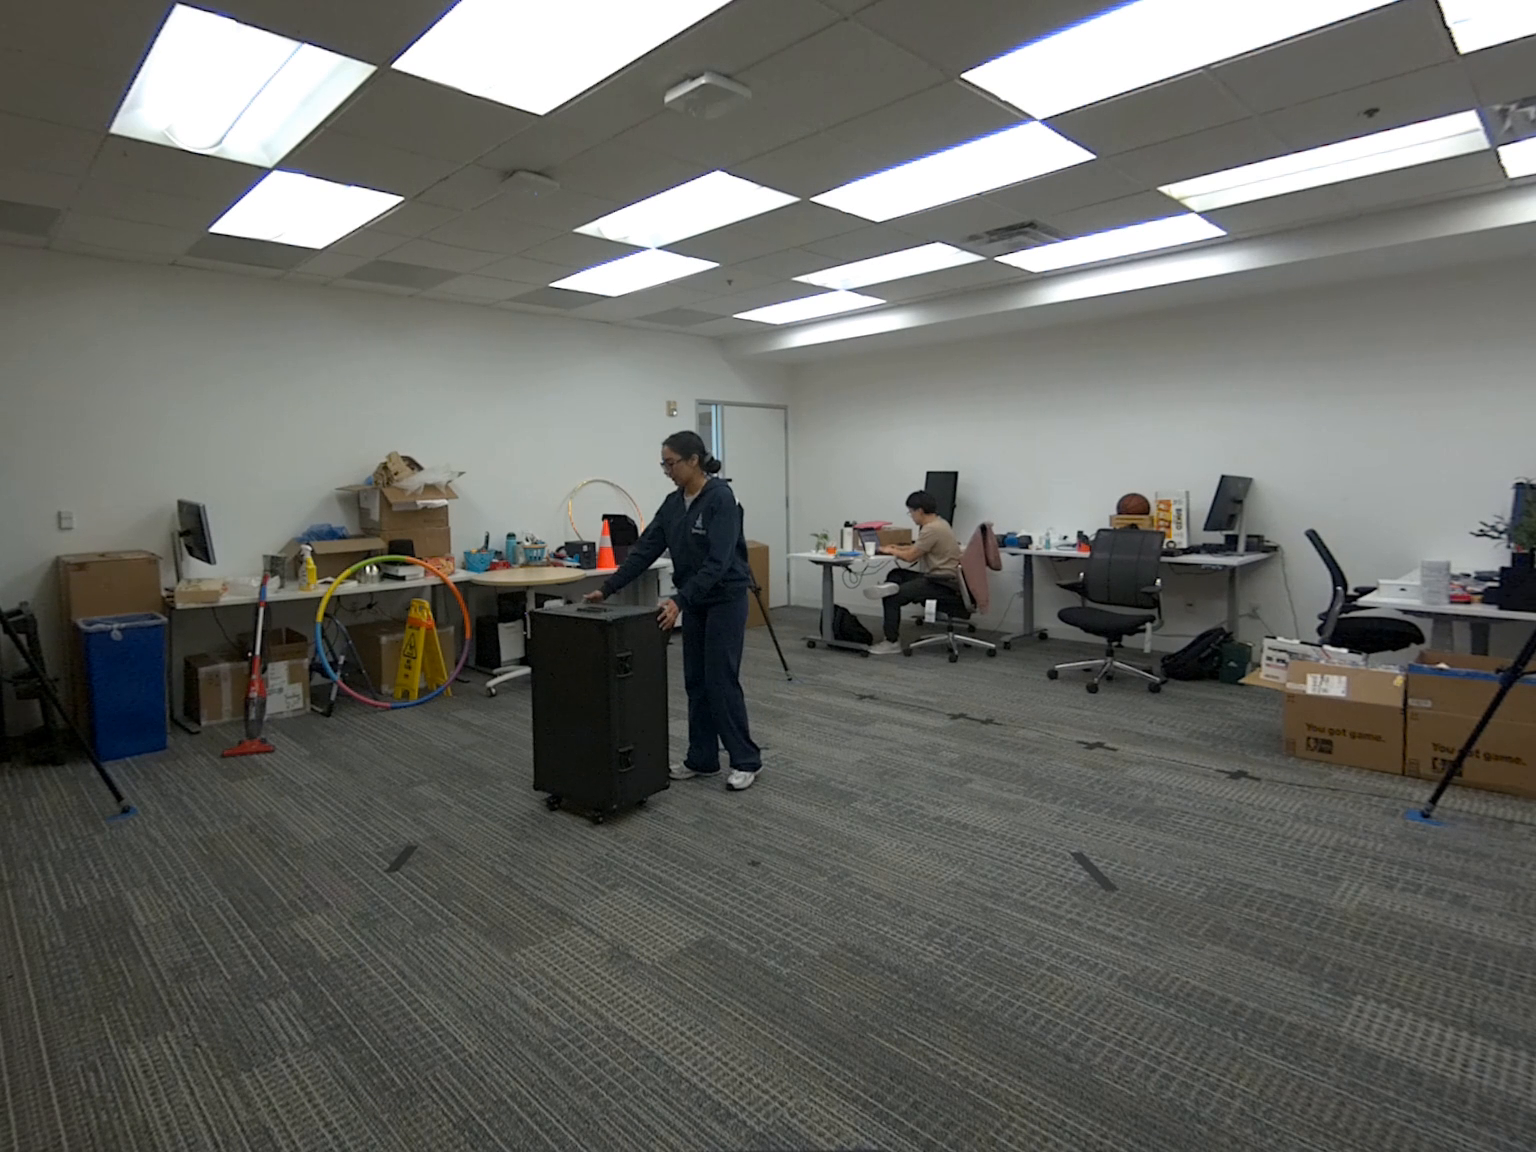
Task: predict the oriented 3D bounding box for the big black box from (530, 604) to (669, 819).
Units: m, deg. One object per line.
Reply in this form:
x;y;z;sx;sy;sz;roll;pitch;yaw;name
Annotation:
-0.724;0.565;3.694;0.536;0.860;0.386;2;3;36;big black box
